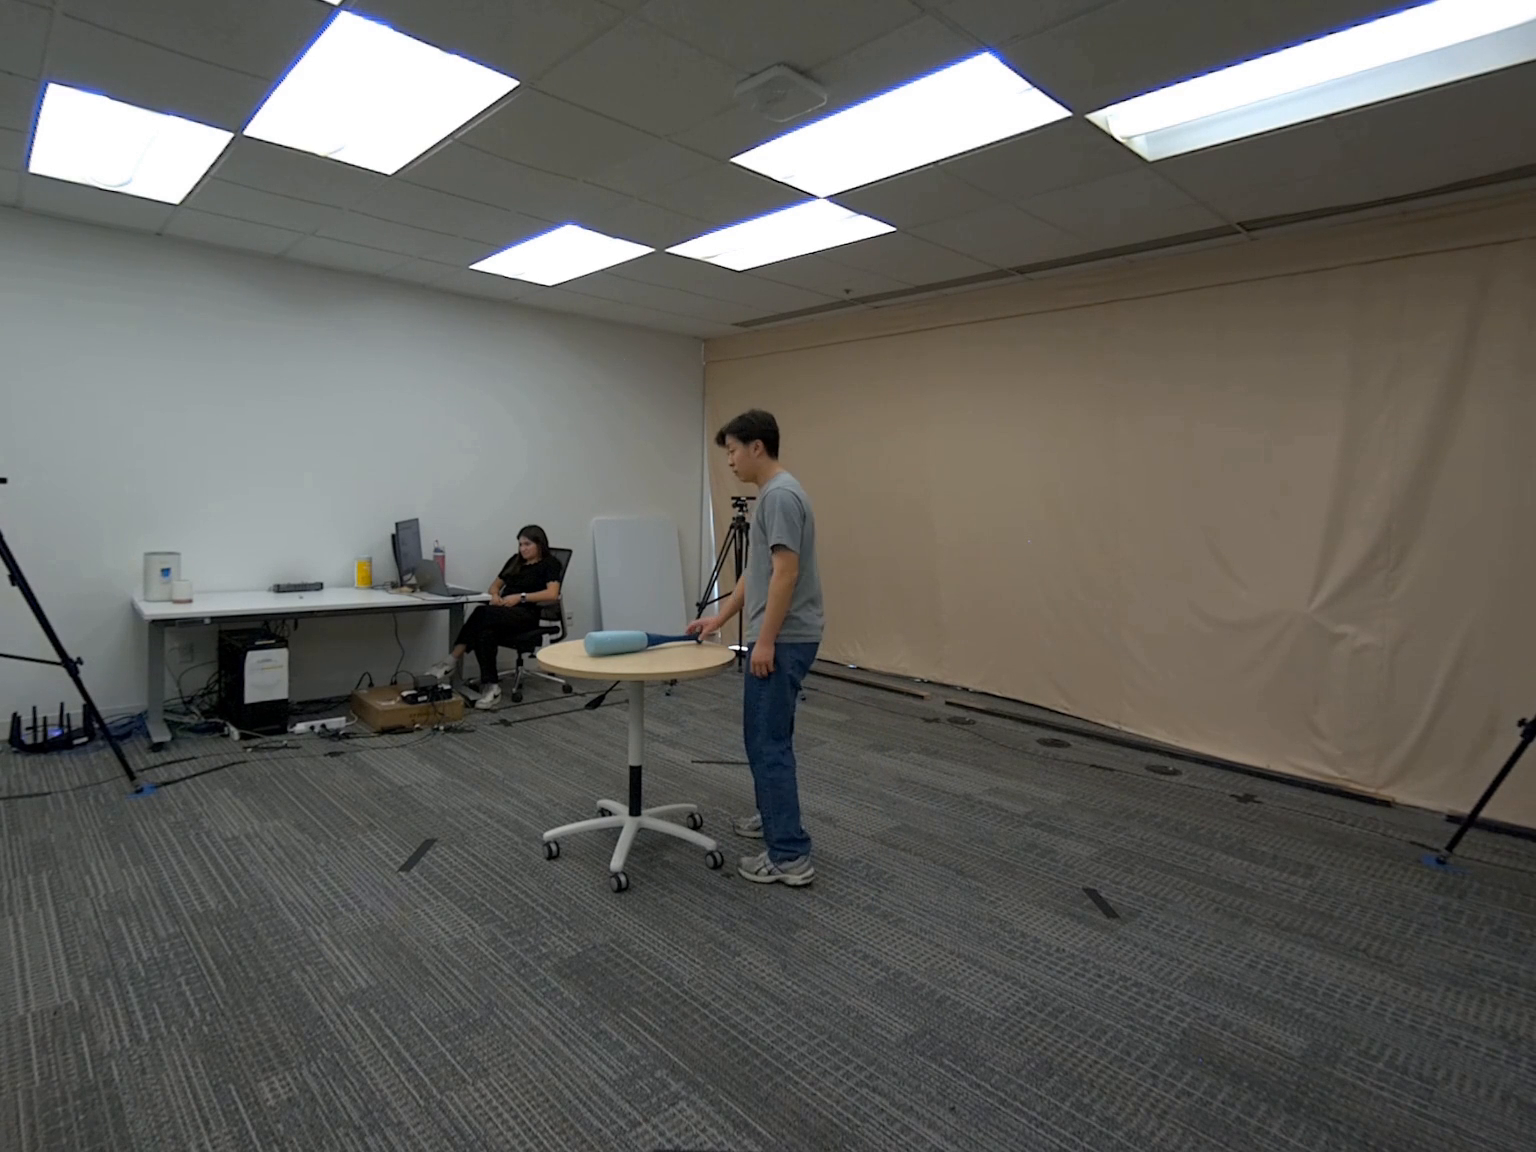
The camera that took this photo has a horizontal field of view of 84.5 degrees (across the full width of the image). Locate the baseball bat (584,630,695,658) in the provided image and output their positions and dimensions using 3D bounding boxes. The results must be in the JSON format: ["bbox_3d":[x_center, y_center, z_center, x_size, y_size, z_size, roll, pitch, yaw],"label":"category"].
[{"bbox_3d":[-0.484,0.256,3.327,0.530,0.089,0.091,0,4,-41],"label":"baseball bat"}]
